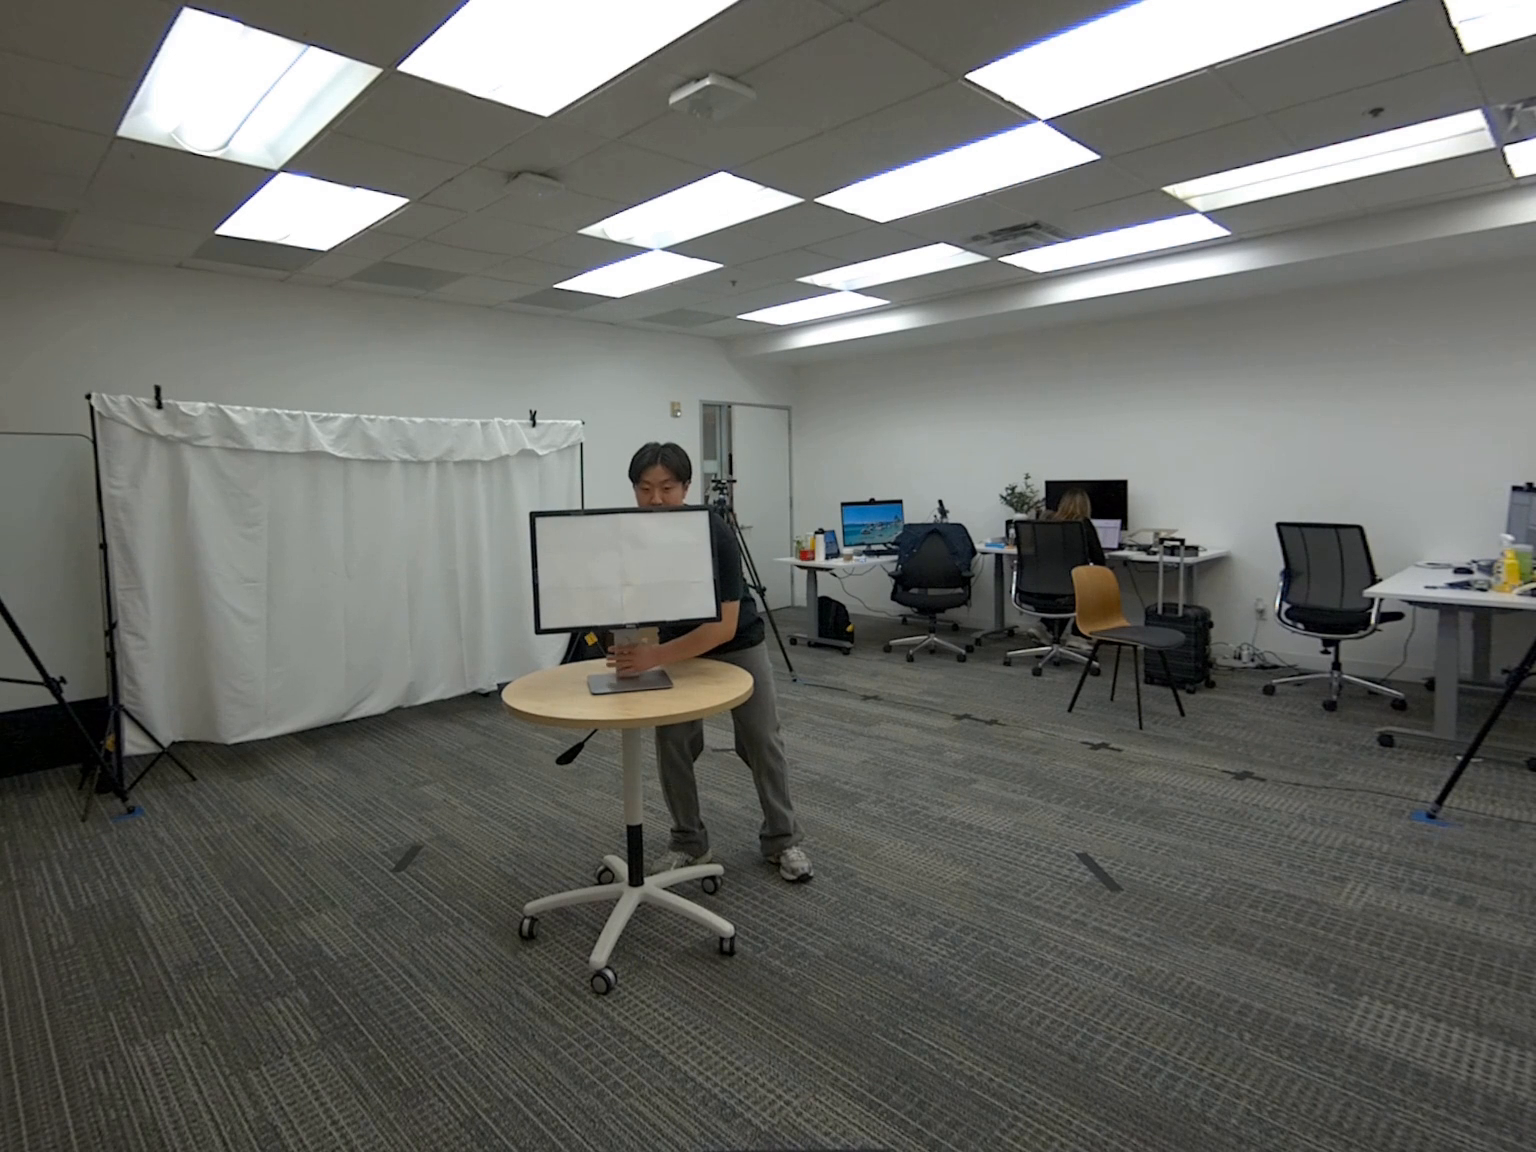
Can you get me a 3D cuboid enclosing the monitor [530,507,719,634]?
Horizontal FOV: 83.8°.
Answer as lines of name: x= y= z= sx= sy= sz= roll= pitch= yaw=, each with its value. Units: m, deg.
monitor: x=-0.431 y=0.075 z=2.597 sx=0.556 sy=0.562 sz=0.226 roll=-3 pitch=7 yaw=-11
